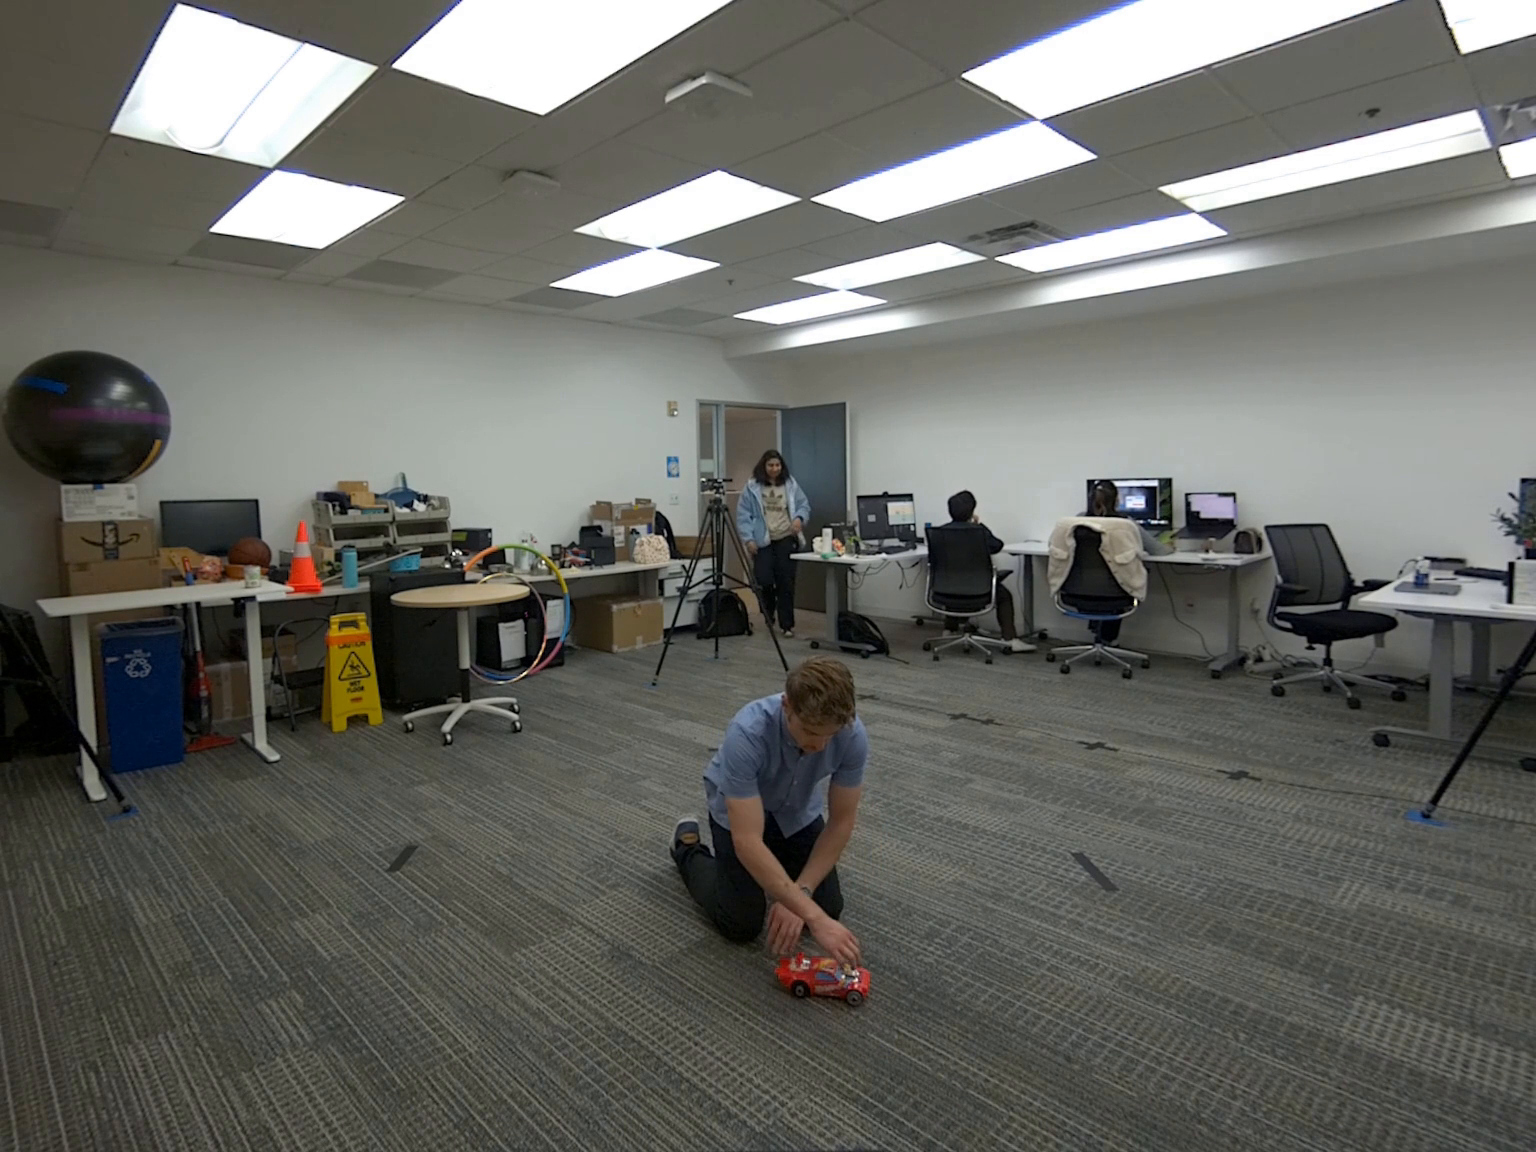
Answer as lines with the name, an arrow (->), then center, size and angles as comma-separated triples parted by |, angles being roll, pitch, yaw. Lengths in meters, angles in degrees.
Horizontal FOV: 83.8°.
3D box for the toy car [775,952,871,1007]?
toy car -> 0.153, 1.103, 2.335 | 0.258, 0.083, 0.129 | 9, 8, 12
